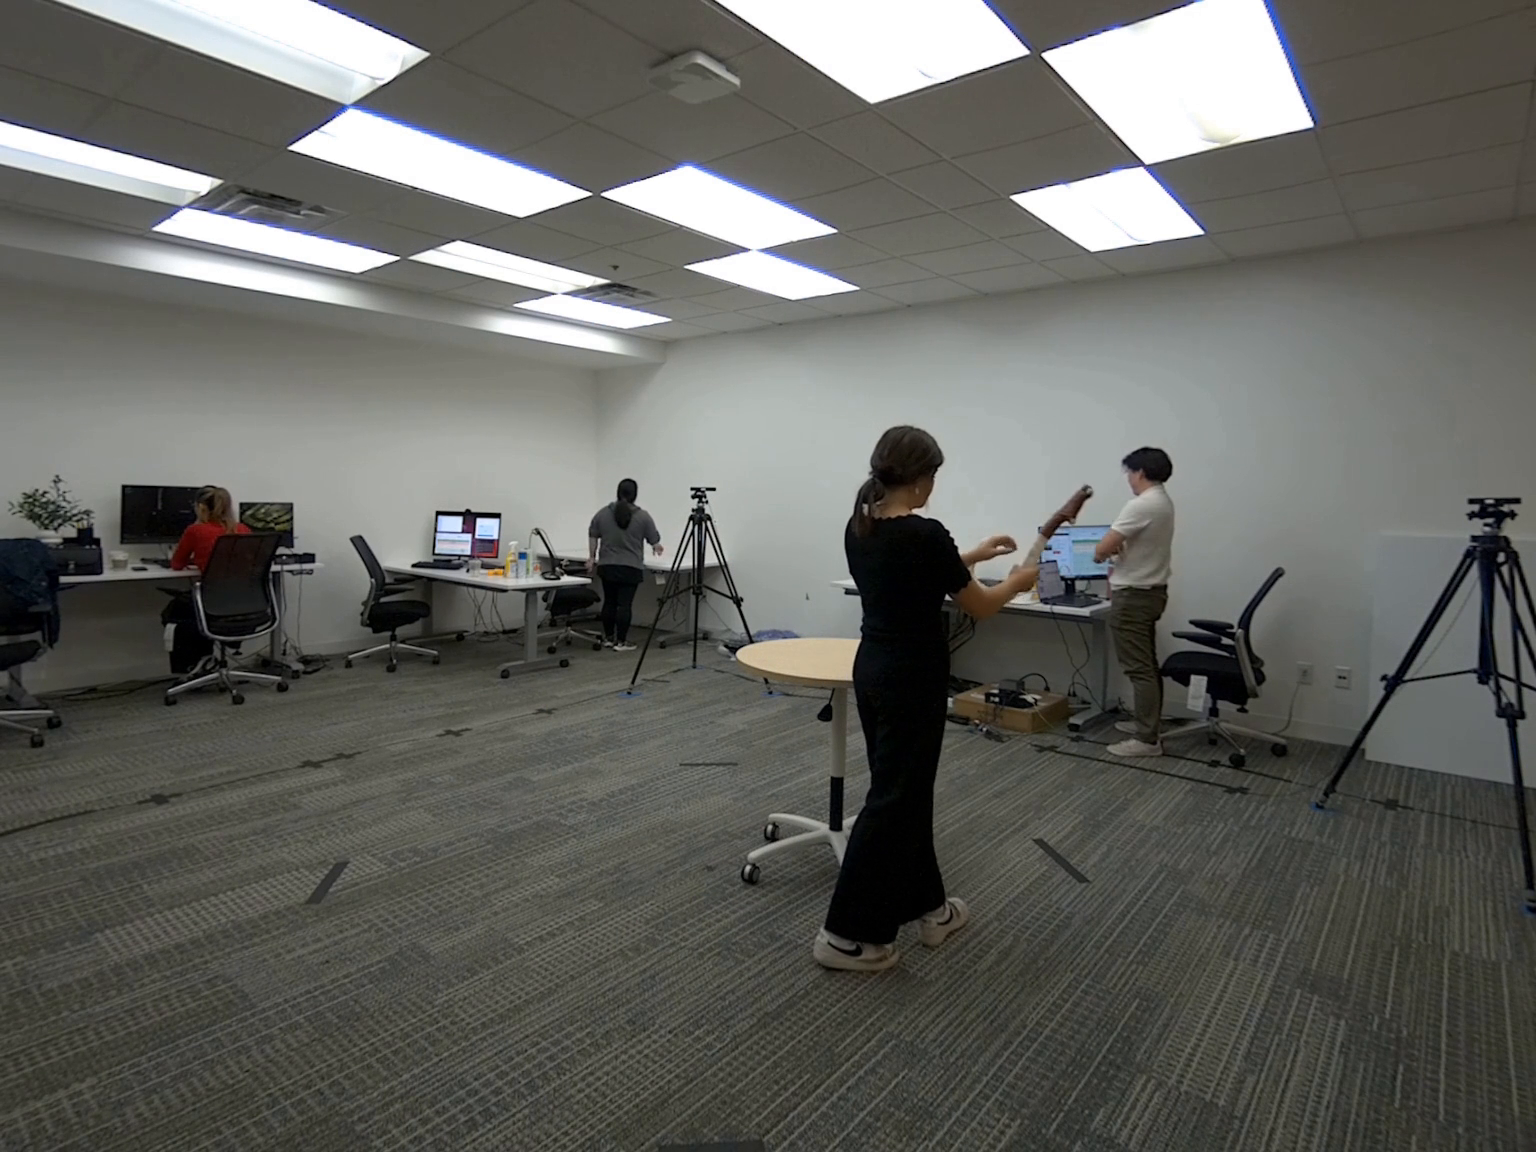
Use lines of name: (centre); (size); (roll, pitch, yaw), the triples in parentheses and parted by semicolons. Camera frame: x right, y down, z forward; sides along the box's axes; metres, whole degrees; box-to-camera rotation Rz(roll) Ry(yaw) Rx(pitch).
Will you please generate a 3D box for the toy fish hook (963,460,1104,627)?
toy fish hook: (0.802, -0.105, 2.696); (0.046, 0.505, 0.234); (20, 23, -49)
